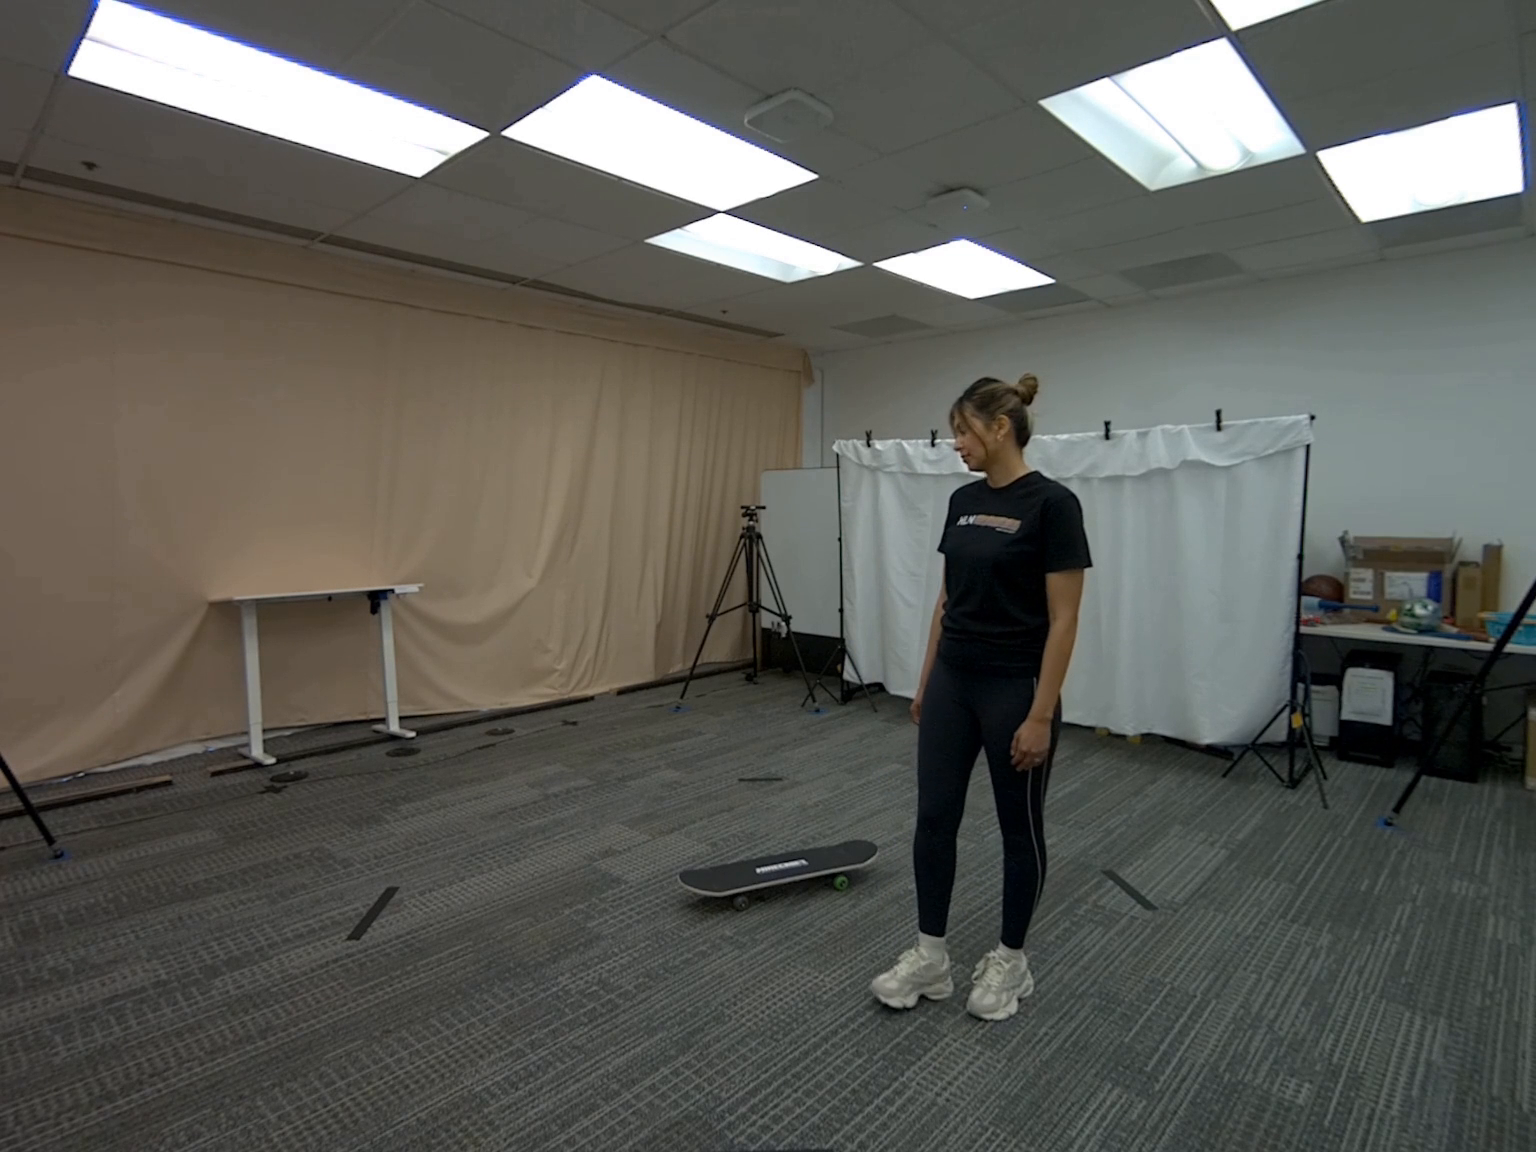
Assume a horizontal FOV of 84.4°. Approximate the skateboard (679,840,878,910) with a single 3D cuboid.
[{"bbox_3d":[0.053,1.079,3.039,0.768,0.110,0.198,-2,6,-23],"label":"skateboard"}]
